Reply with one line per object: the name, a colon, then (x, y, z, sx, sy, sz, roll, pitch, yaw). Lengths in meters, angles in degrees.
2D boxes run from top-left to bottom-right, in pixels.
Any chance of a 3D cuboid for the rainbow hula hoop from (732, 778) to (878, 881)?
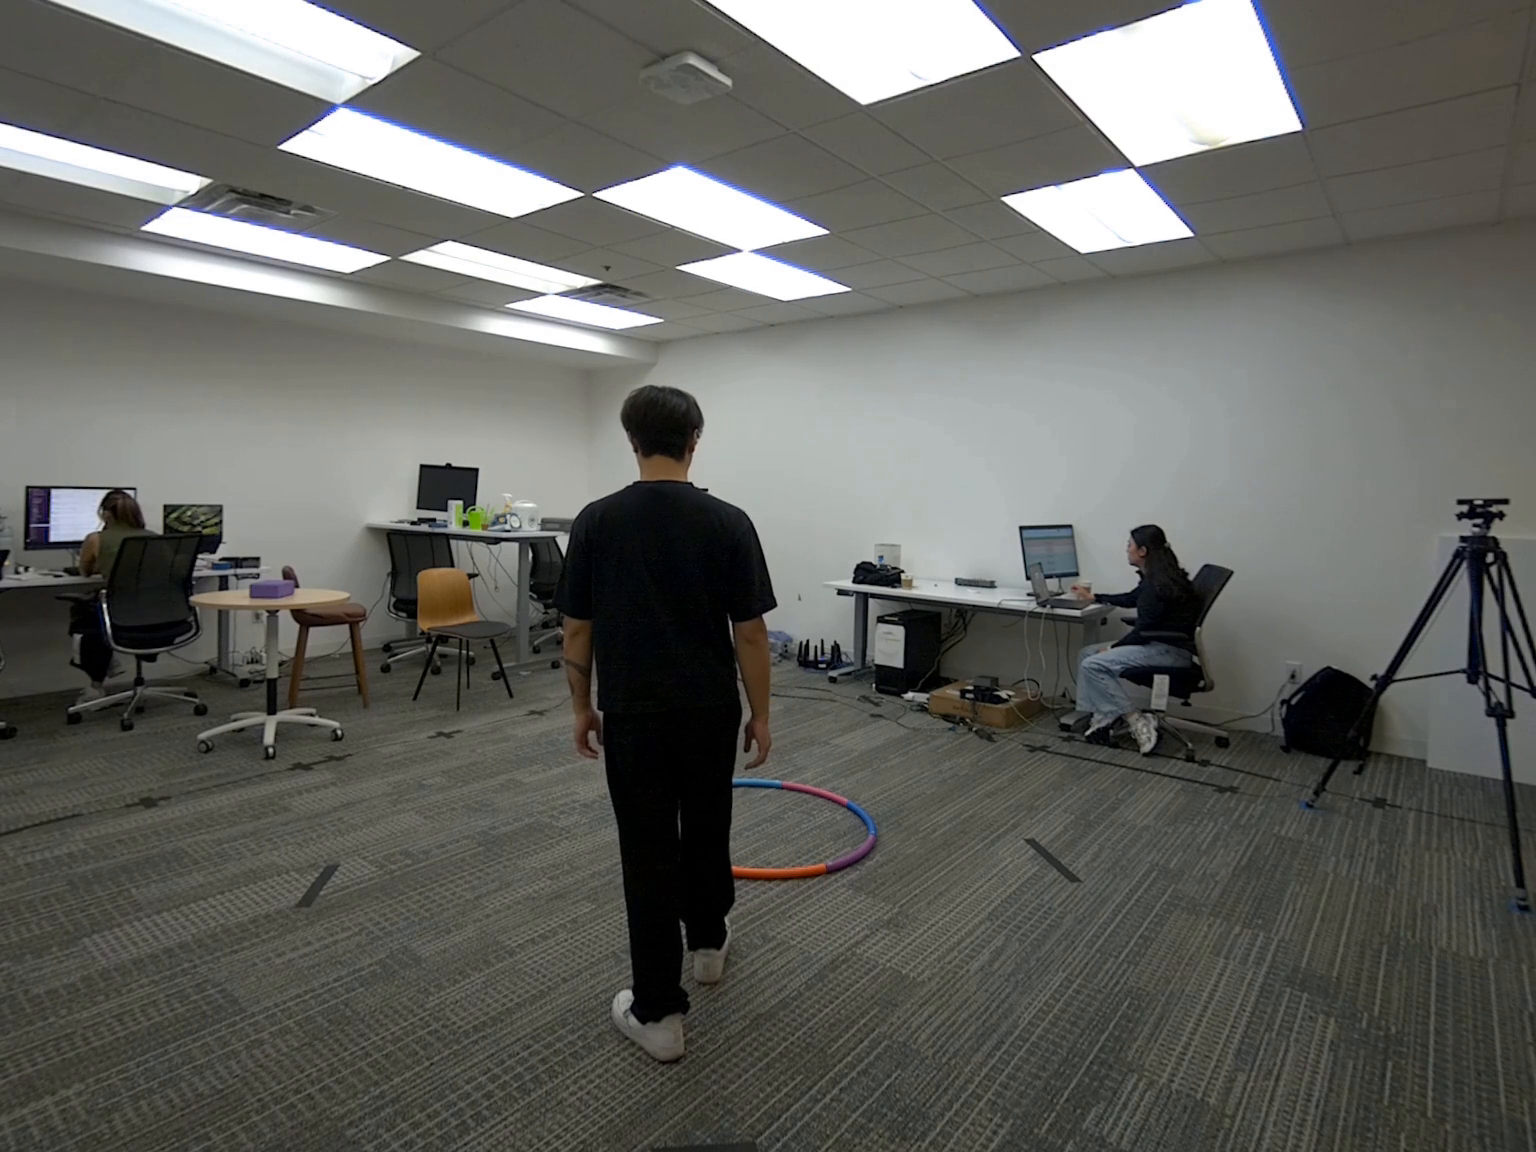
rainbow hula hoop: (-0.058, 1.003, 3.515, 0.978, 0.035, 0.984, 1, 6, -2)
